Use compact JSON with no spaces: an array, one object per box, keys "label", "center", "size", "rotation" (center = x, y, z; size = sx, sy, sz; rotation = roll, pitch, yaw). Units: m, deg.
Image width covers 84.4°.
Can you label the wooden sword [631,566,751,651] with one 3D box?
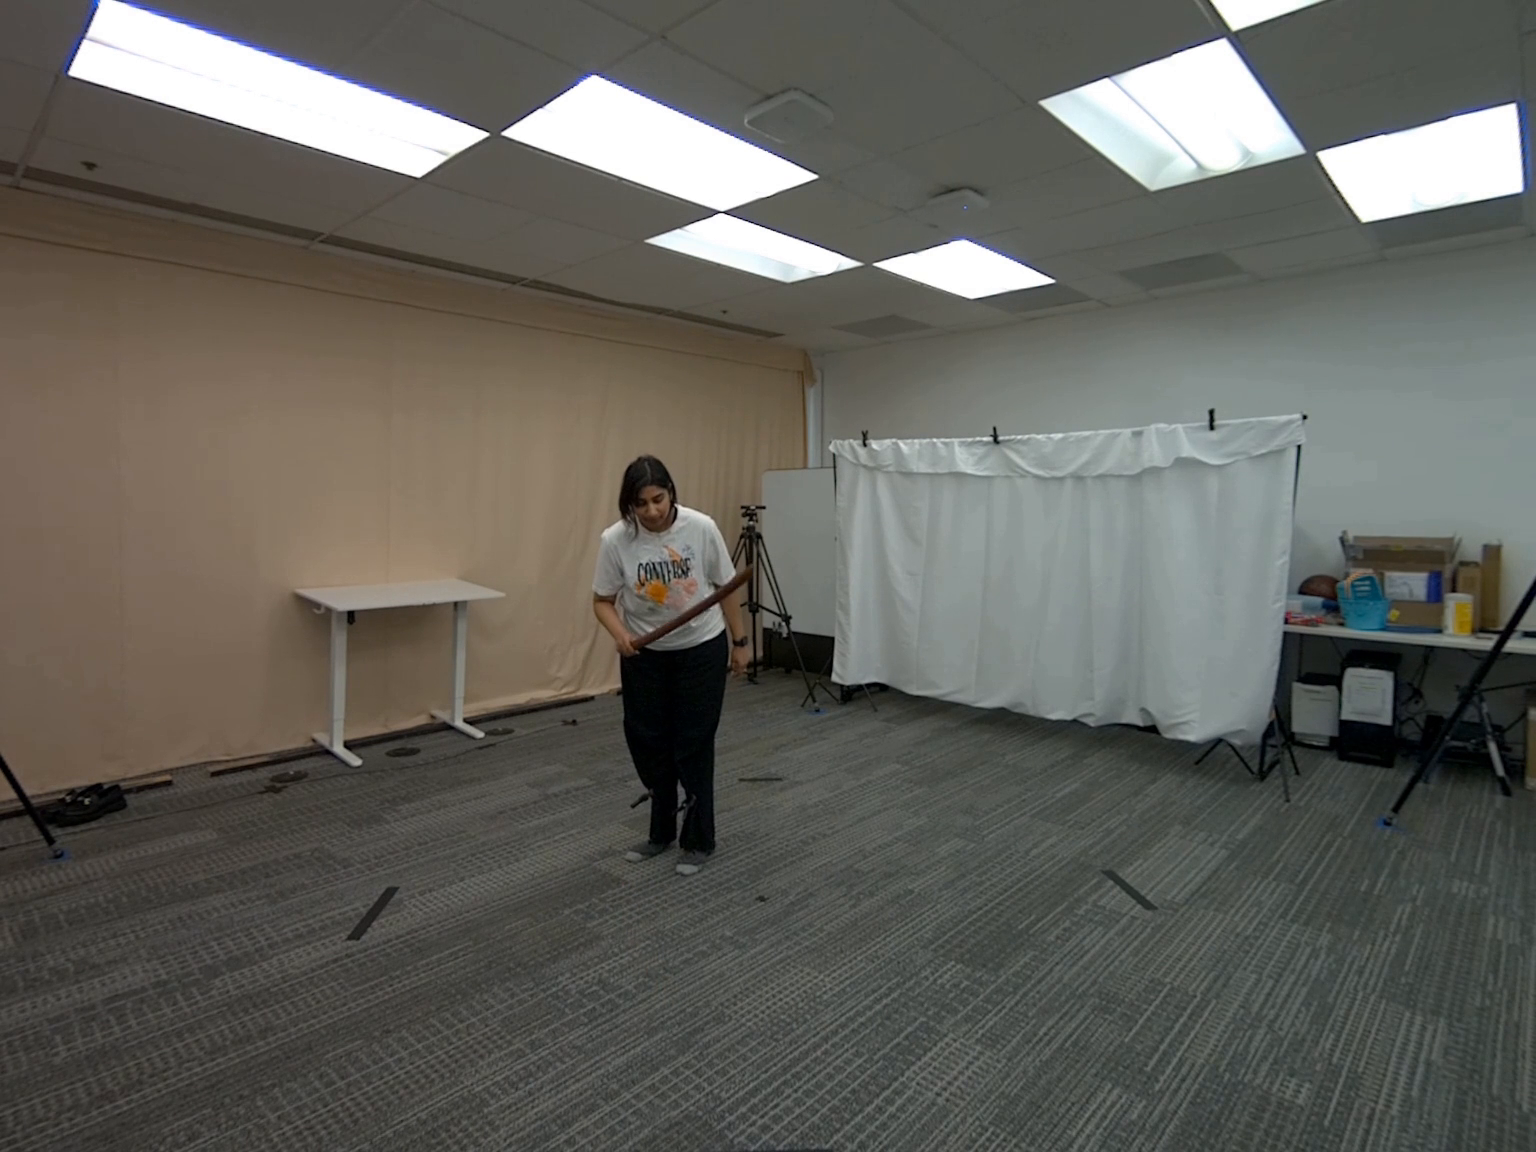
[{"label":"wooden sword","center":[-0.295,0.138,2.655],"size":[0.023,0.052,1.037],"rotation":[8,-20,-23]}]
